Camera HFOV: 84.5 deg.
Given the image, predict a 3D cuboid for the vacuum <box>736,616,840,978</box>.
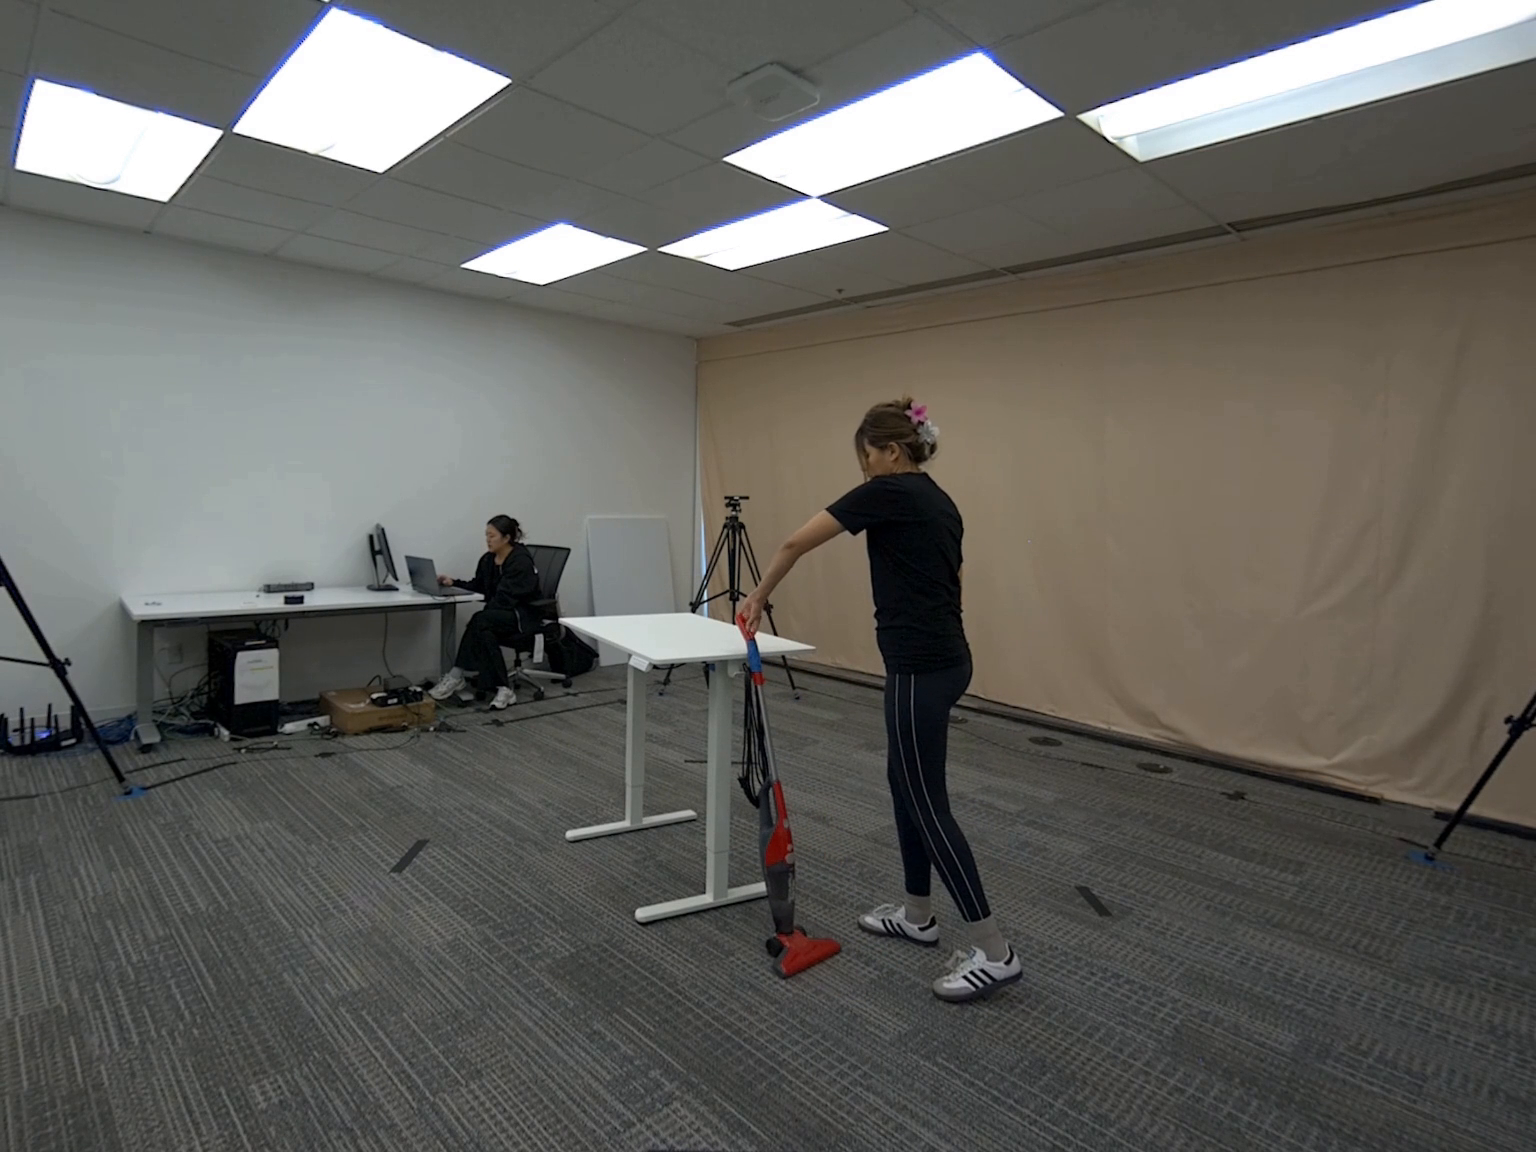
[{"bbox_3d":[-0.005,0.661,2.667,0.146,1.060,0.246,-21,-15,40],"label":"vacuum"}]
